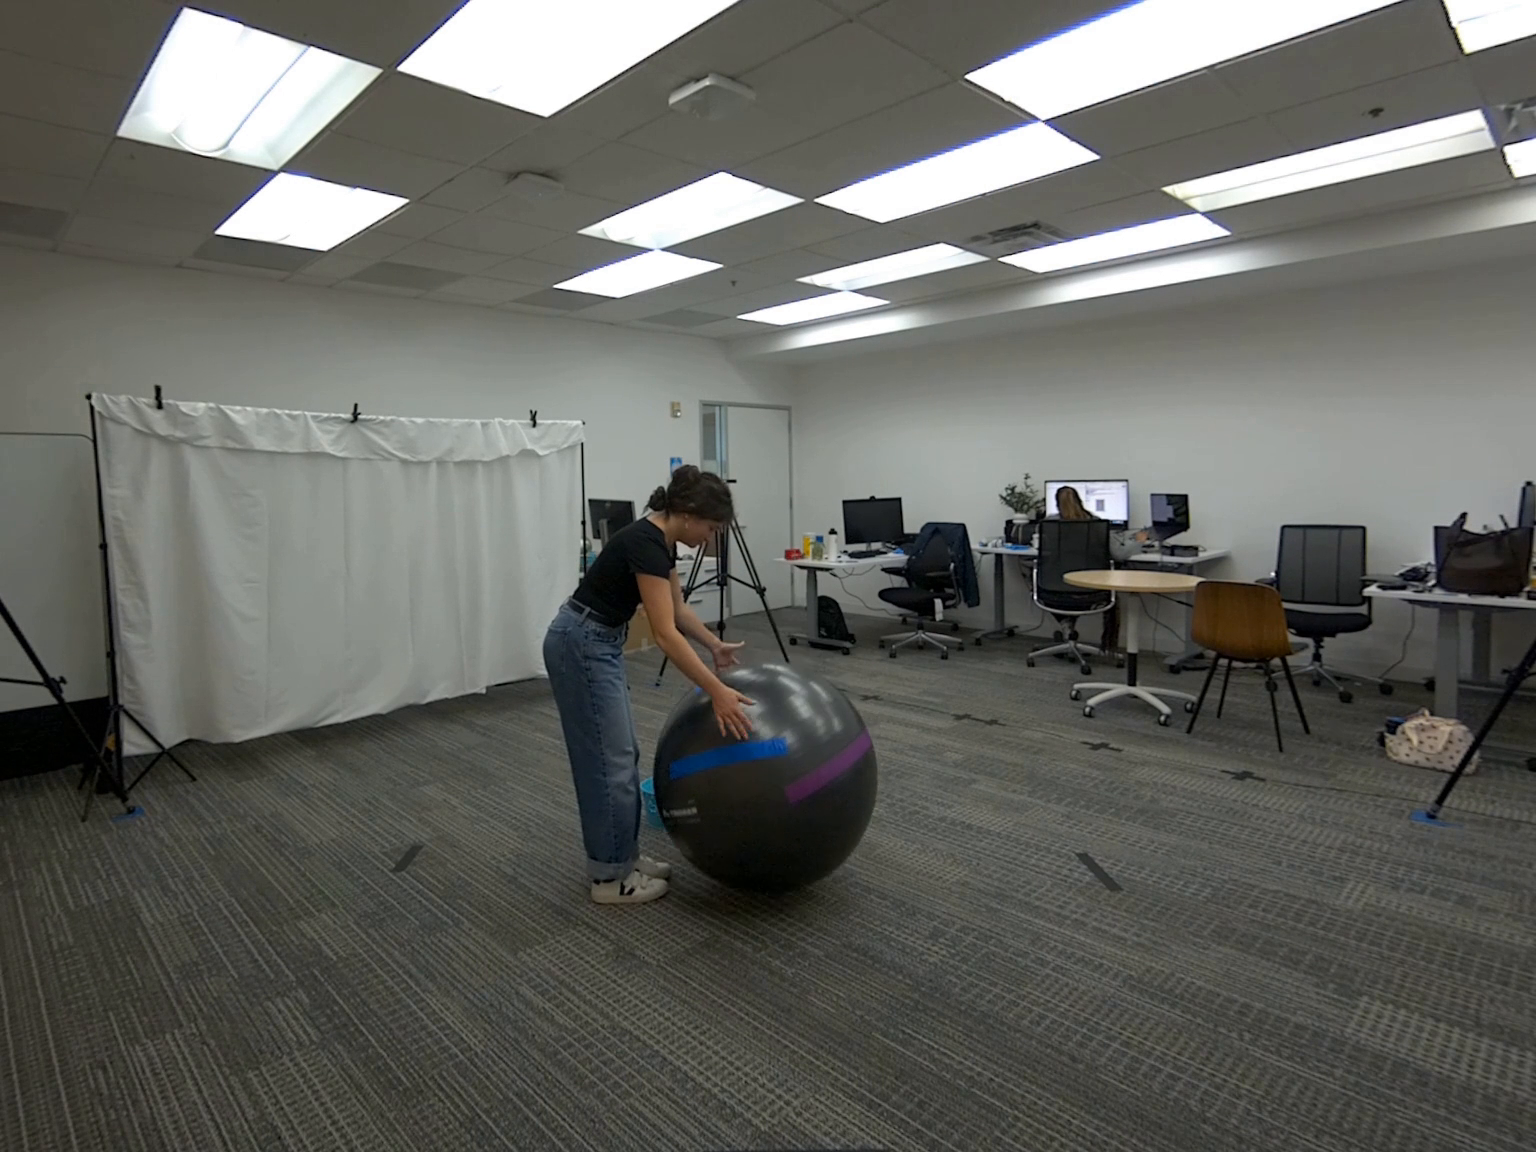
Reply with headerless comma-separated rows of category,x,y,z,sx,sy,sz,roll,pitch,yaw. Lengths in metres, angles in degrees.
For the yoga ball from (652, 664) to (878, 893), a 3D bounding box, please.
yoga ball,-0.001,0.634,2.898,0.757,0.755,0.762,-1,5,-2
